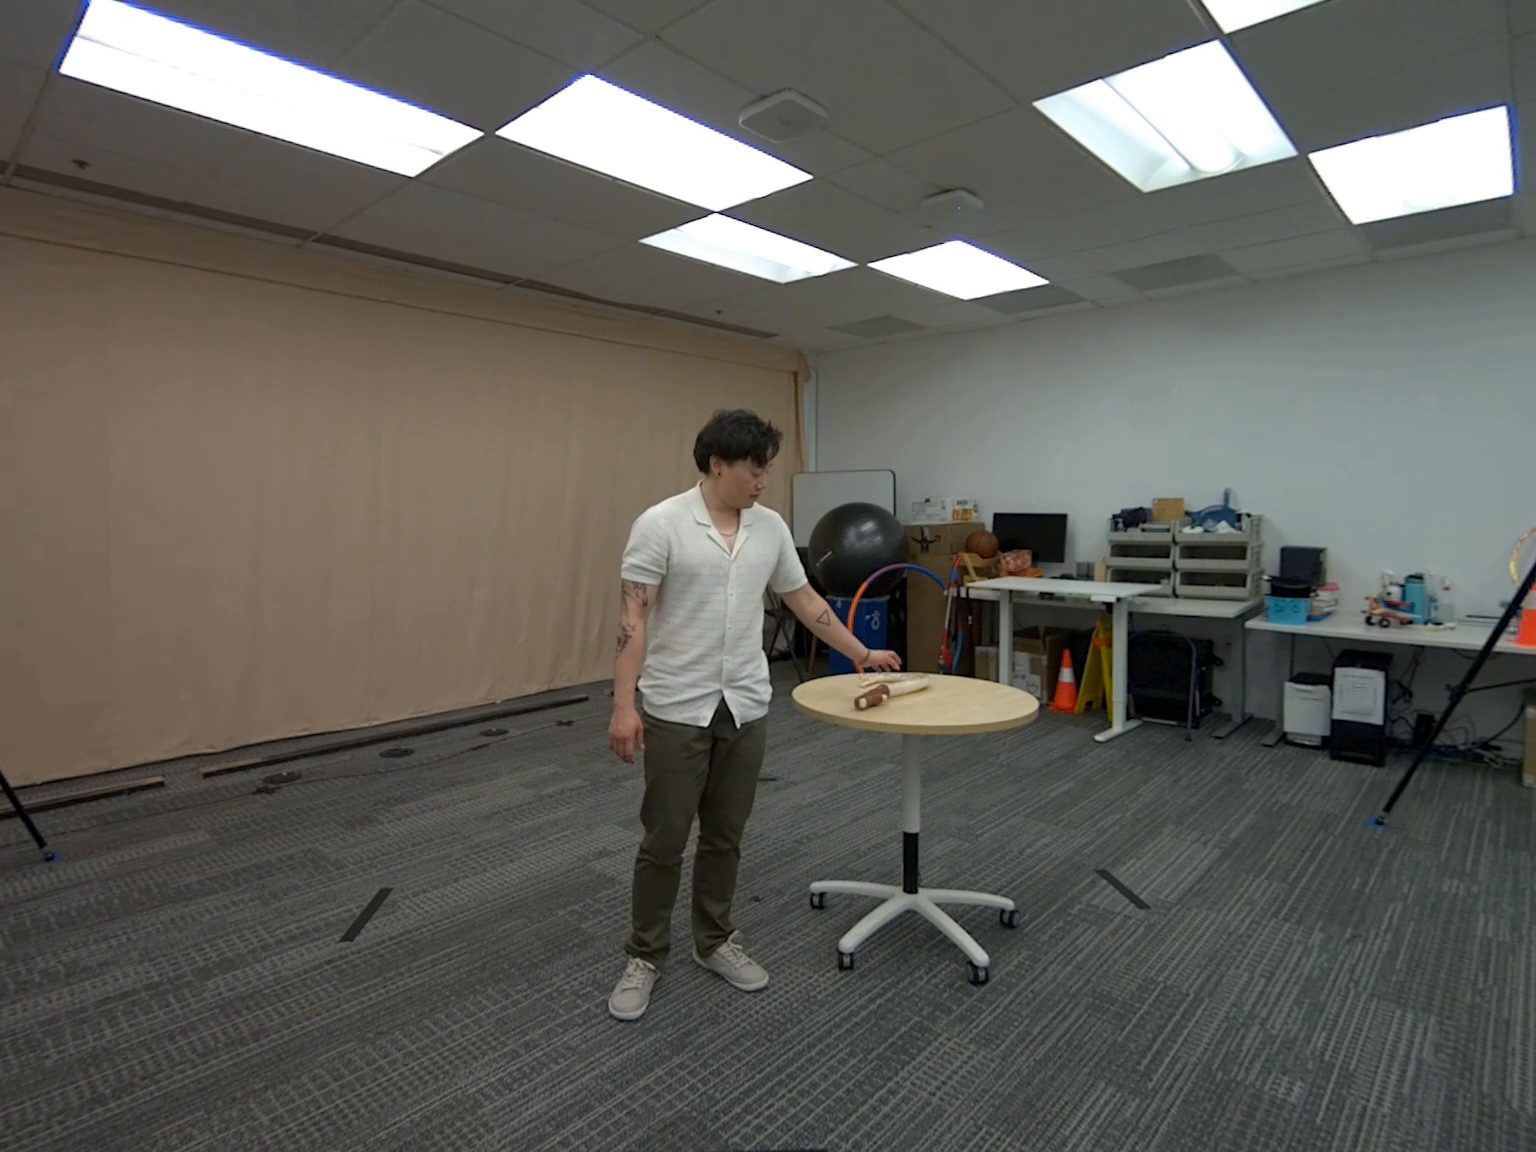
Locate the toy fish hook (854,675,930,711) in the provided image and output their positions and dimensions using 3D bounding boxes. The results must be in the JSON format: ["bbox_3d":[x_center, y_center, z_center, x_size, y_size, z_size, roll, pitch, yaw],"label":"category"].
[{"bbox_3d":[0.365,0.372,2.715,0.231,0.048,0.492,-7,-1,33],"label":"toy fish hook"}]
